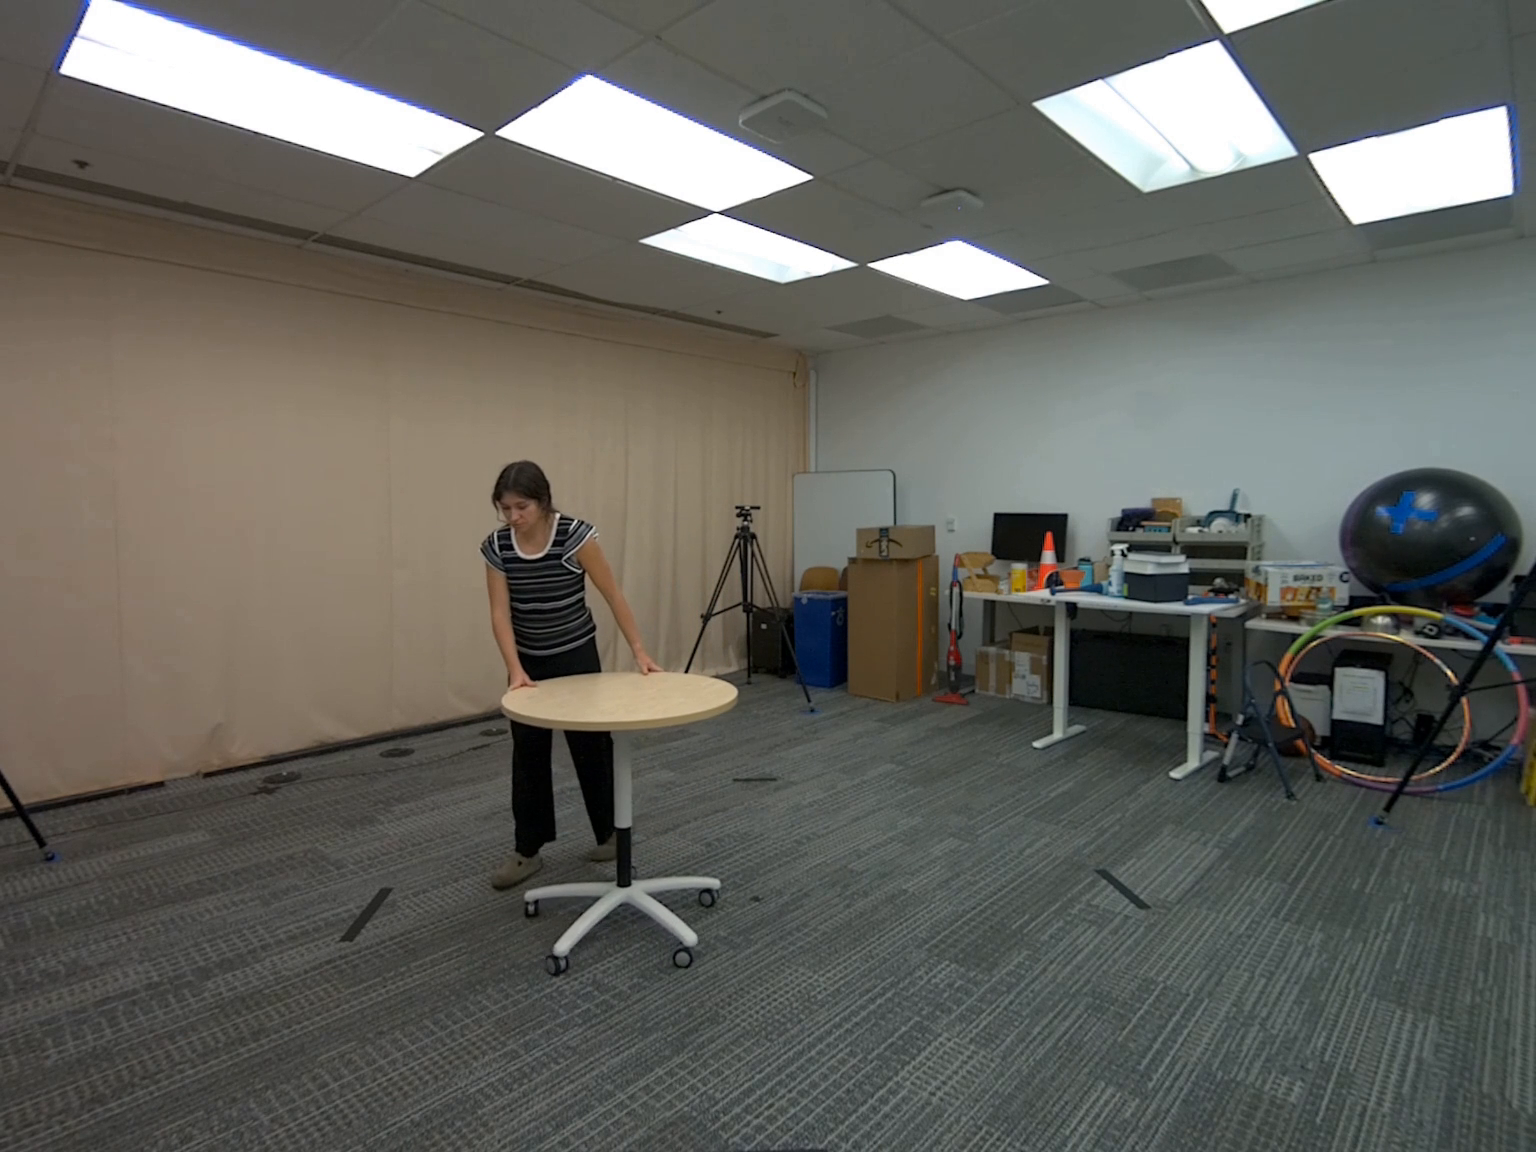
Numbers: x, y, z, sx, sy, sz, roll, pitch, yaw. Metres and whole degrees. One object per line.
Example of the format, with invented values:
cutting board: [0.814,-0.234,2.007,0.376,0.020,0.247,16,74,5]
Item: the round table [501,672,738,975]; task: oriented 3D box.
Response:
round table: [-0.472,0.778,2.775,0.763,0.792,0.766,-1,3,-2]
